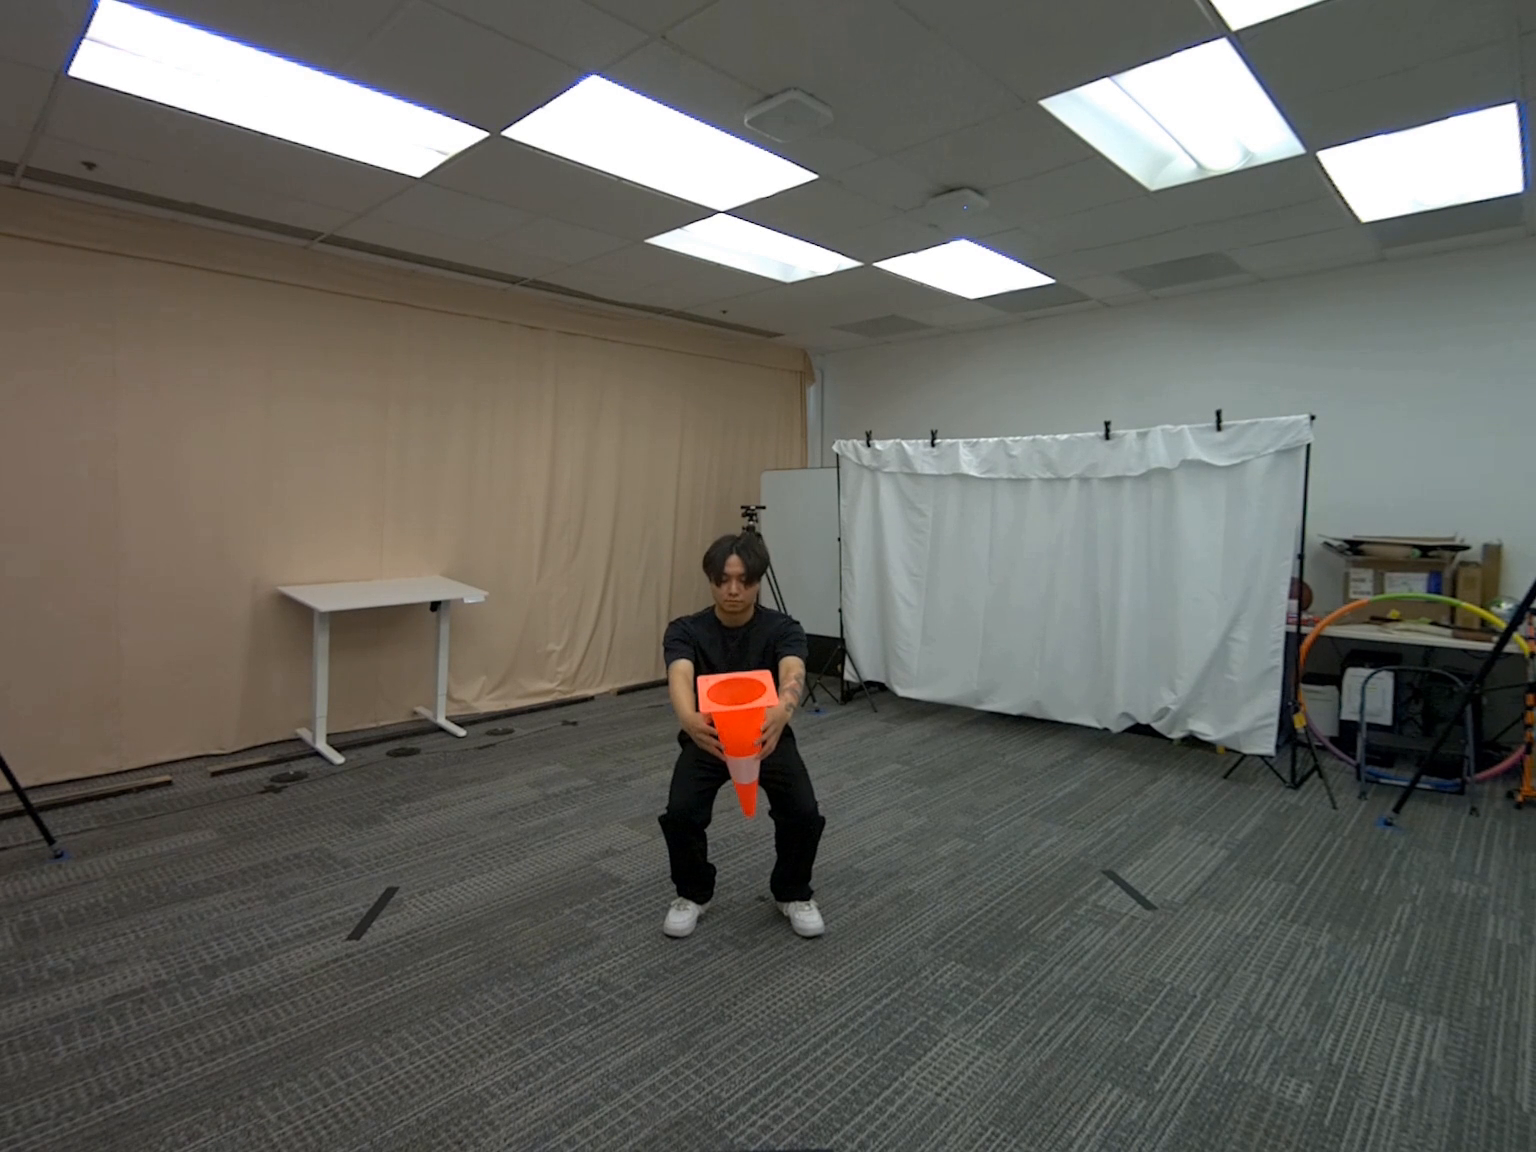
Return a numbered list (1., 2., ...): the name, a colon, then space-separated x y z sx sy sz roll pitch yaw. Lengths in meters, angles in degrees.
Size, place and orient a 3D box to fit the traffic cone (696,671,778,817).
1. traffic cone: -0.073 0.472 2.233 0.205 0.379 0.205 -2 18 1
